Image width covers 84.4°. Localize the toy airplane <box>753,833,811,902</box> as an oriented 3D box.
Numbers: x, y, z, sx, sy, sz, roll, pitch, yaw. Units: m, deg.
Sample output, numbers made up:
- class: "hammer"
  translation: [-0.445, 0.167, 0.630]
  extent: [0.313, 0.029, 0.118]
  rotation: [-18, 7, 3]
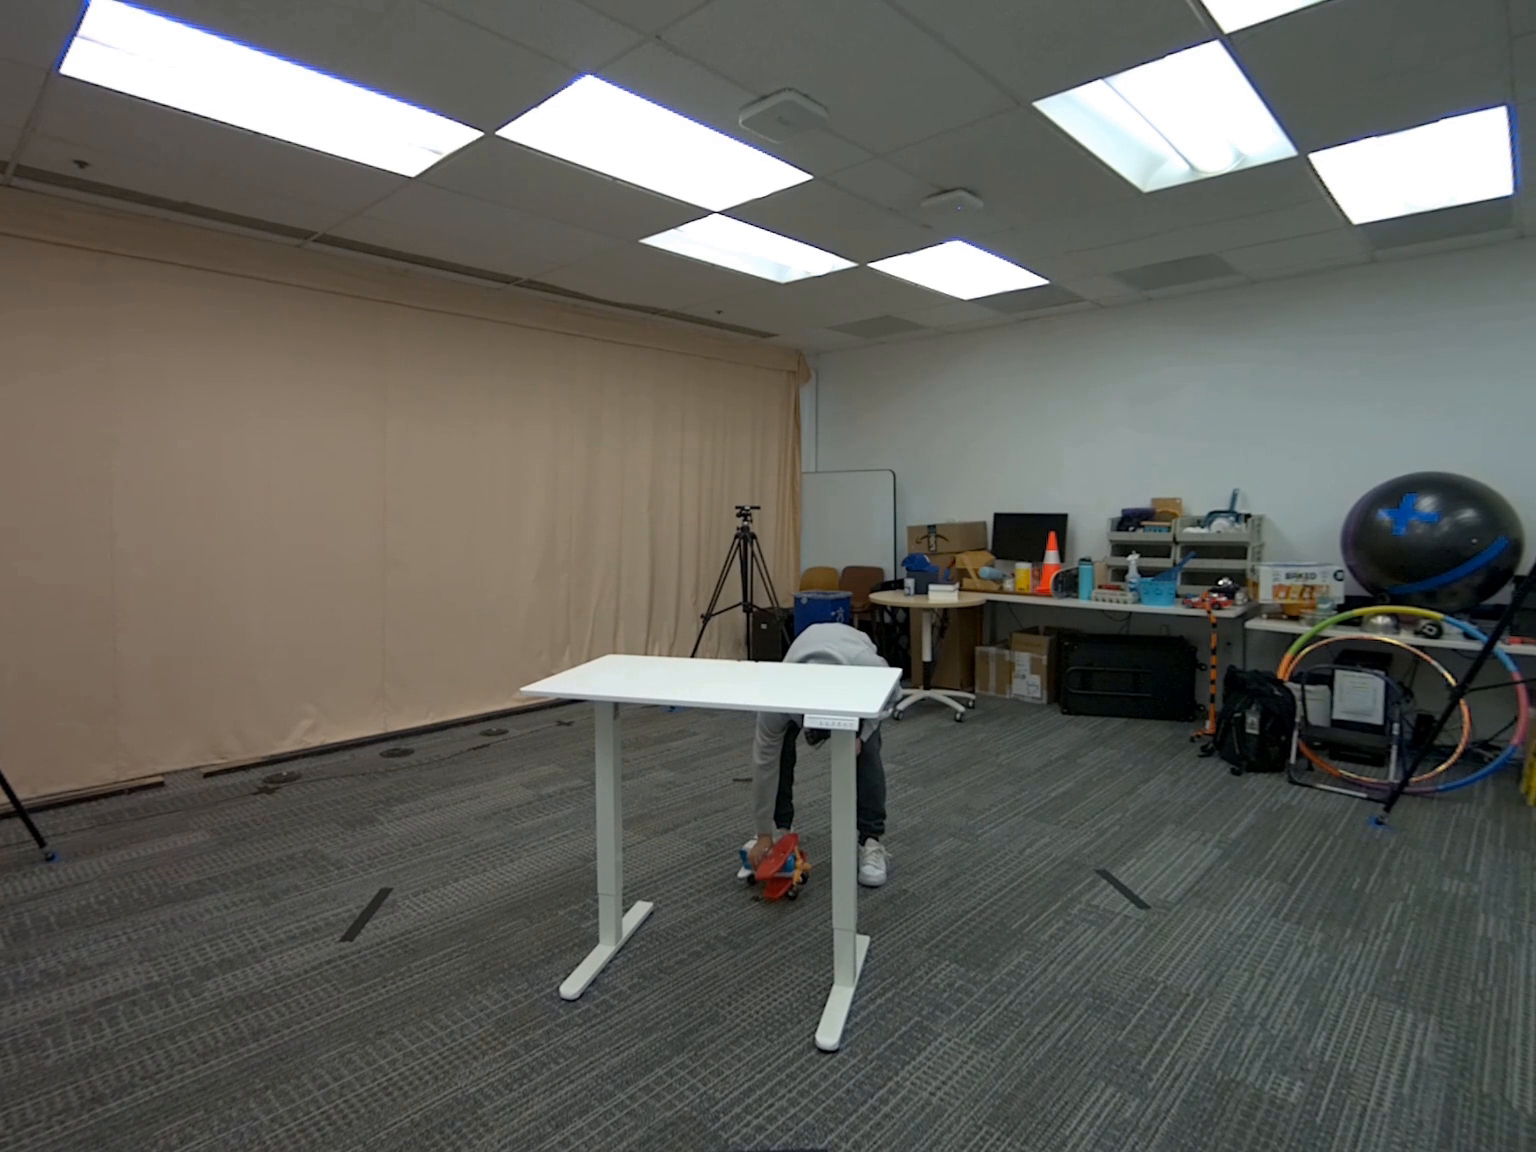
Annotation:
- class: "toy airplane"
  translation: [0.008, 1.059, 3.025]
  extent: [0.260, 0.154, 0.254]
  rotation: [-8, 19, 2]
